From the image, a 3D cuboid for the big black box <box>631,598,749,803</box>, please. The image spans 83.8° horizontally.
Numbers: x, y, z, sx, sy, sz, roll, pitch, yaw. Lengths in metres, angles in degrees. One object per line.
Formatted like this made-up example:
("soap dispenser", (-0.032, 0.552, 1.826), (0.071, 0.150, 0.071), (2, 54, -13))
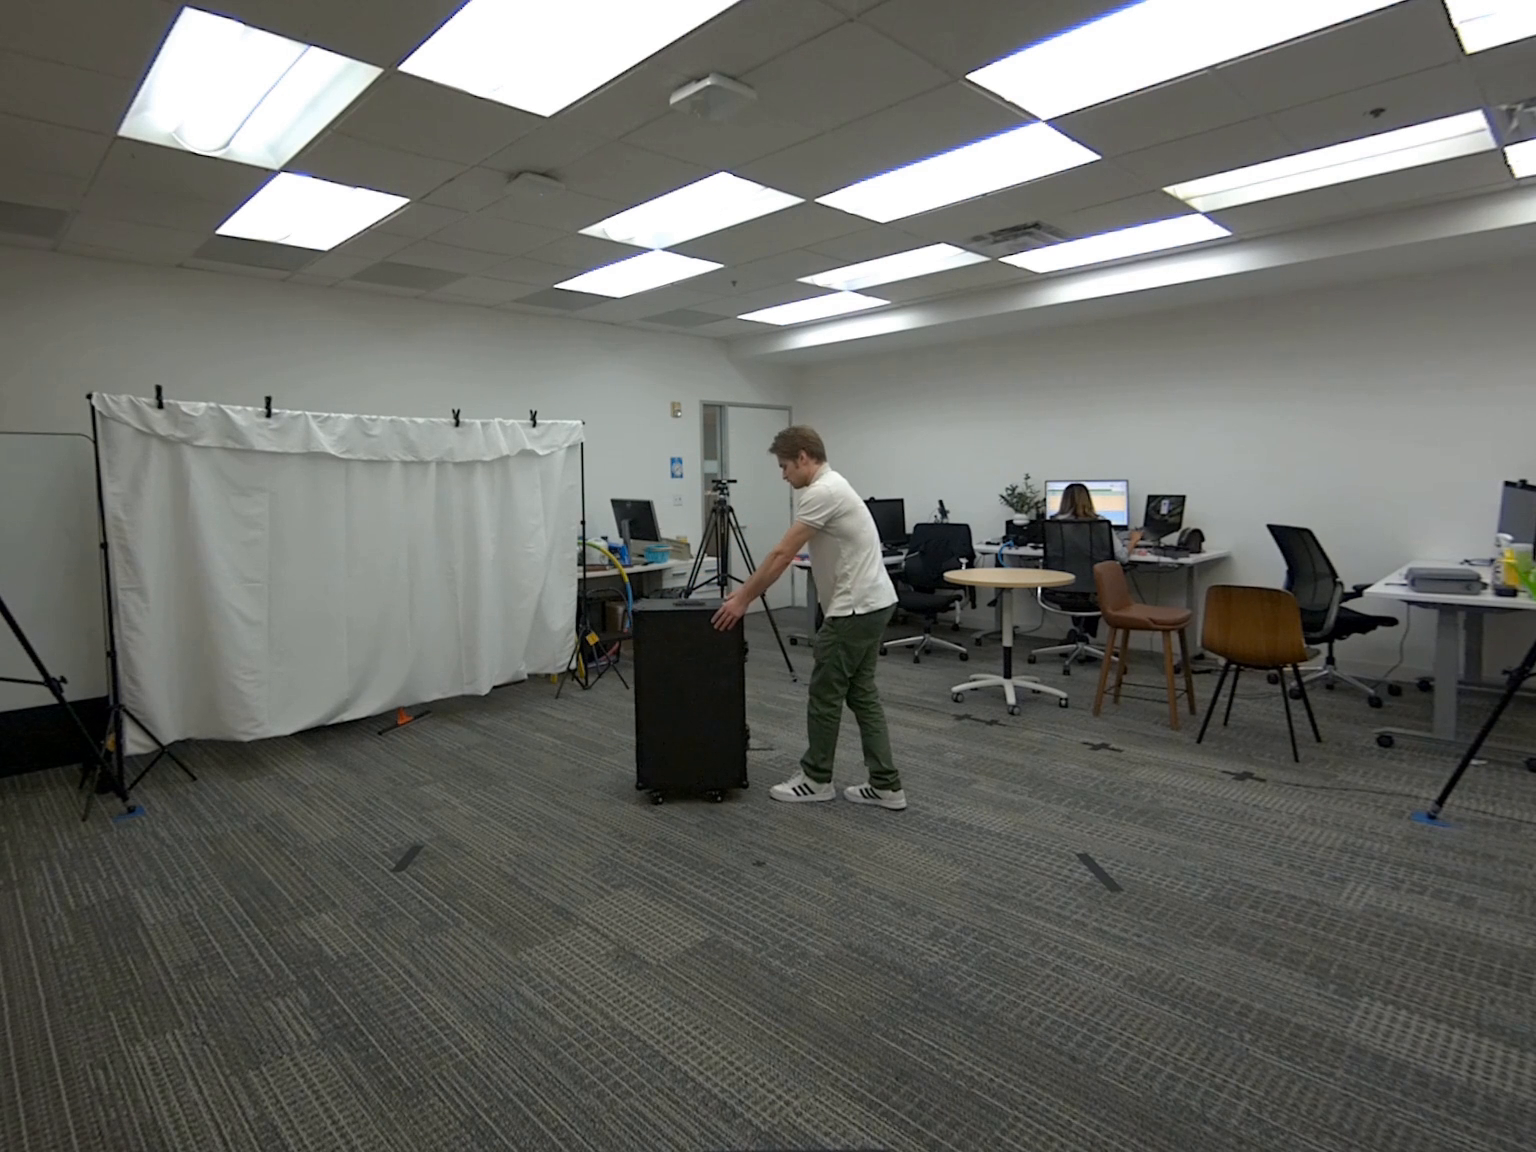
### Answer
("big black box", (-0.354, 0.551, 3.845), (0.523, 0.866, 0.387), (-1, 3, -1))
